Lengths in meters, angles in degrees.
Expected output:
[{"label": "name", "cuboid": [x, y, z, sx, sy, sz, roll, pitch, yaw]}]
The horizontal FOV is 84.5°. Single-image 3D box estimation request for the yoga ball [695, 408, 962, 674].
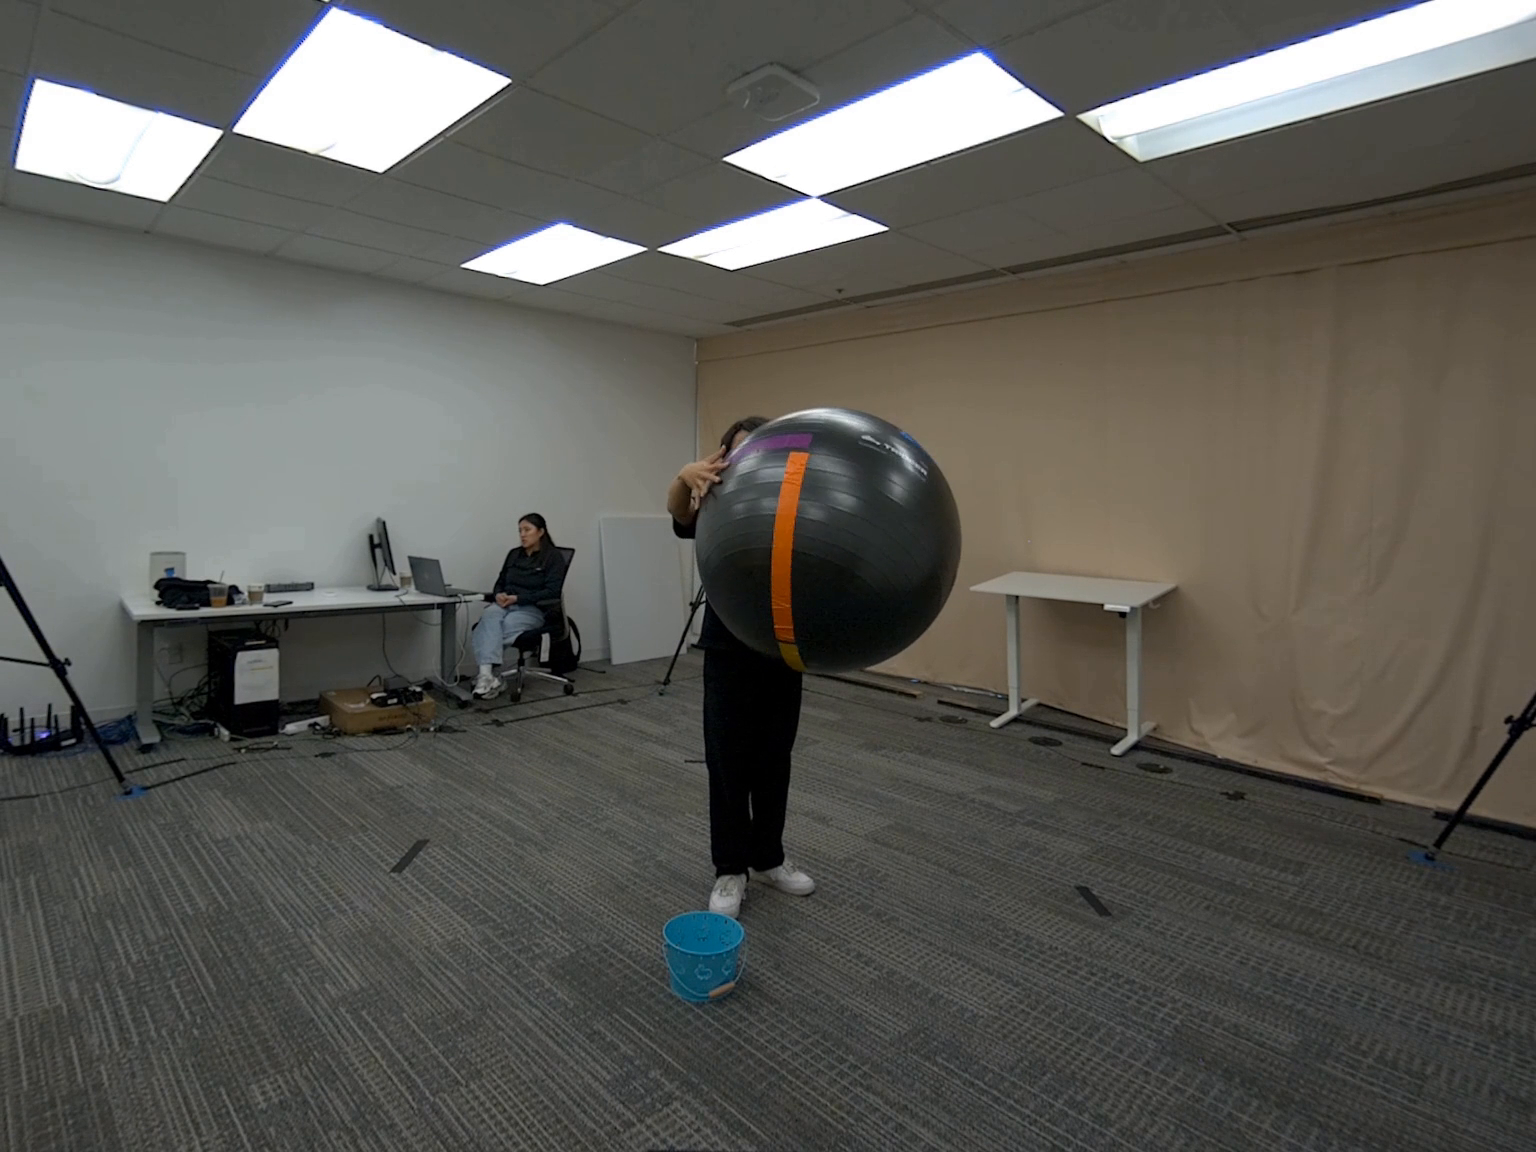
[{"label": "yoga ball", "cuboid": [0.167, -0.093, 2.422, 0.757, 0.756, 0.761, 1, 4, -1]}]
